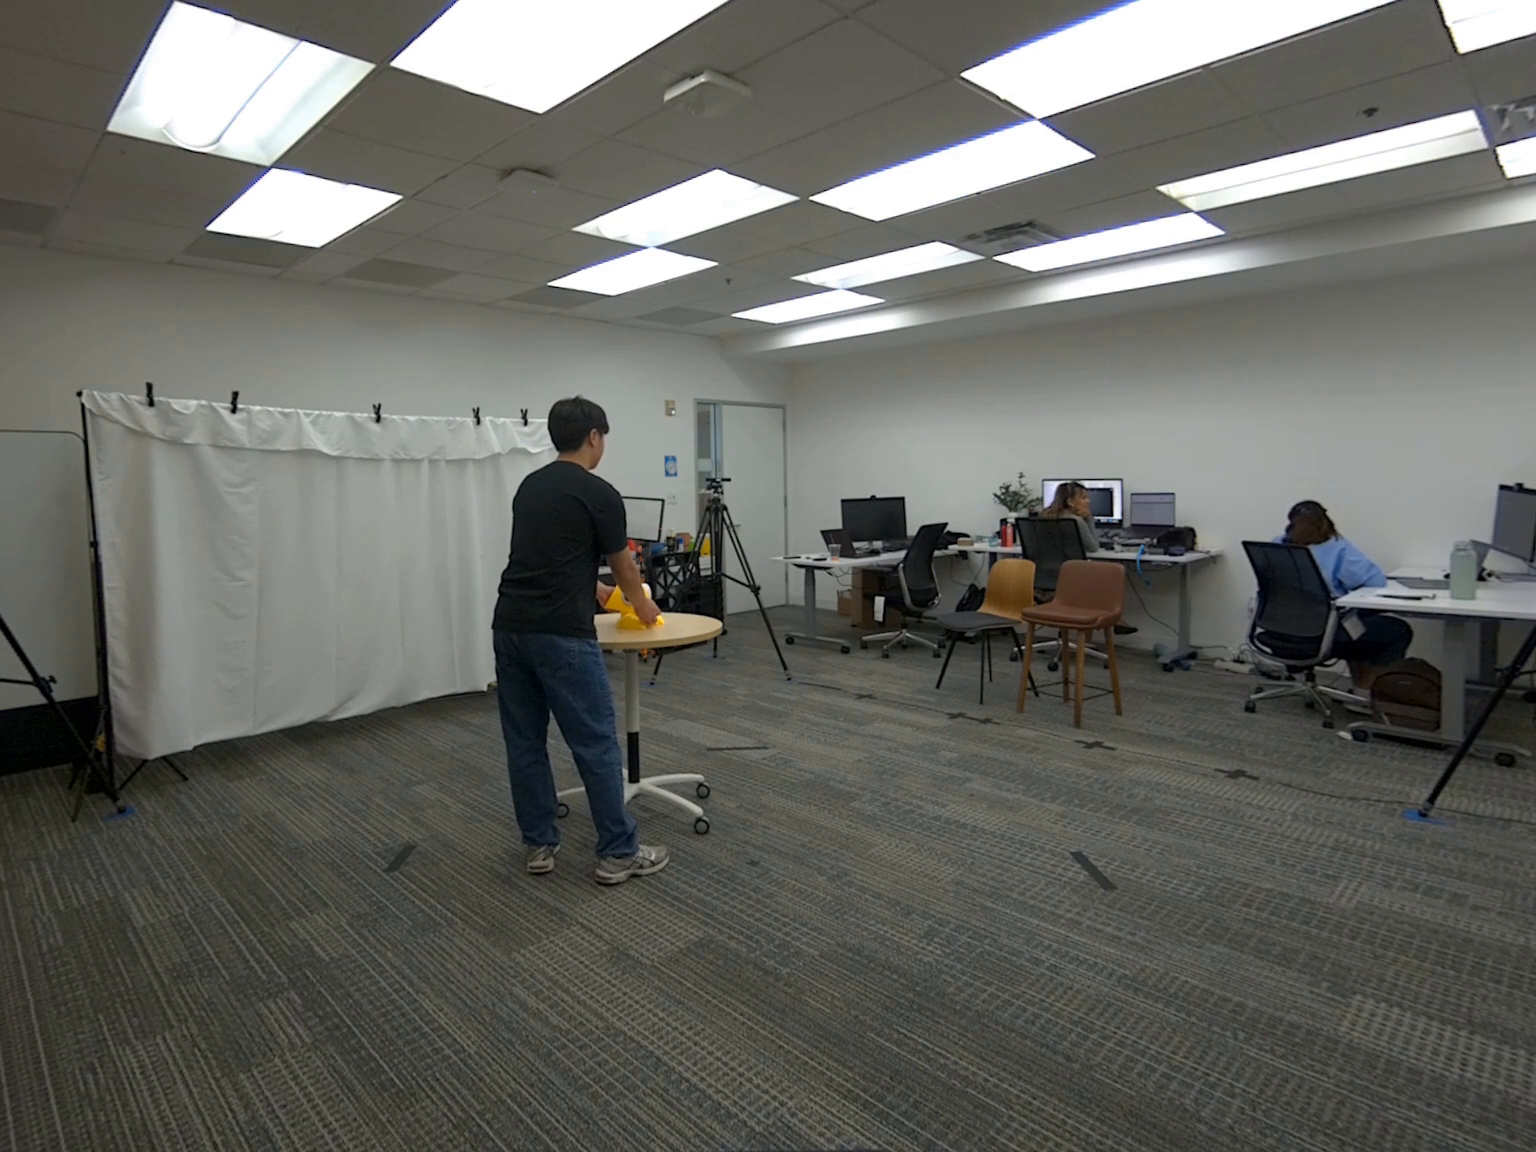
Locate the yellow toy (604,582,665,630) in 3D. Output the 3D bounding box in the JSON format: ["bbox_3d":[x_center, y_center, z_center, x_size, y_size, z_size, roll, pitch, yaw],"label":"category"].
[{"bbox_3d":[-0.548,0.090,3.566,0.198,0.230,0.200,1,5,29],"label":"yellow toy"}]
